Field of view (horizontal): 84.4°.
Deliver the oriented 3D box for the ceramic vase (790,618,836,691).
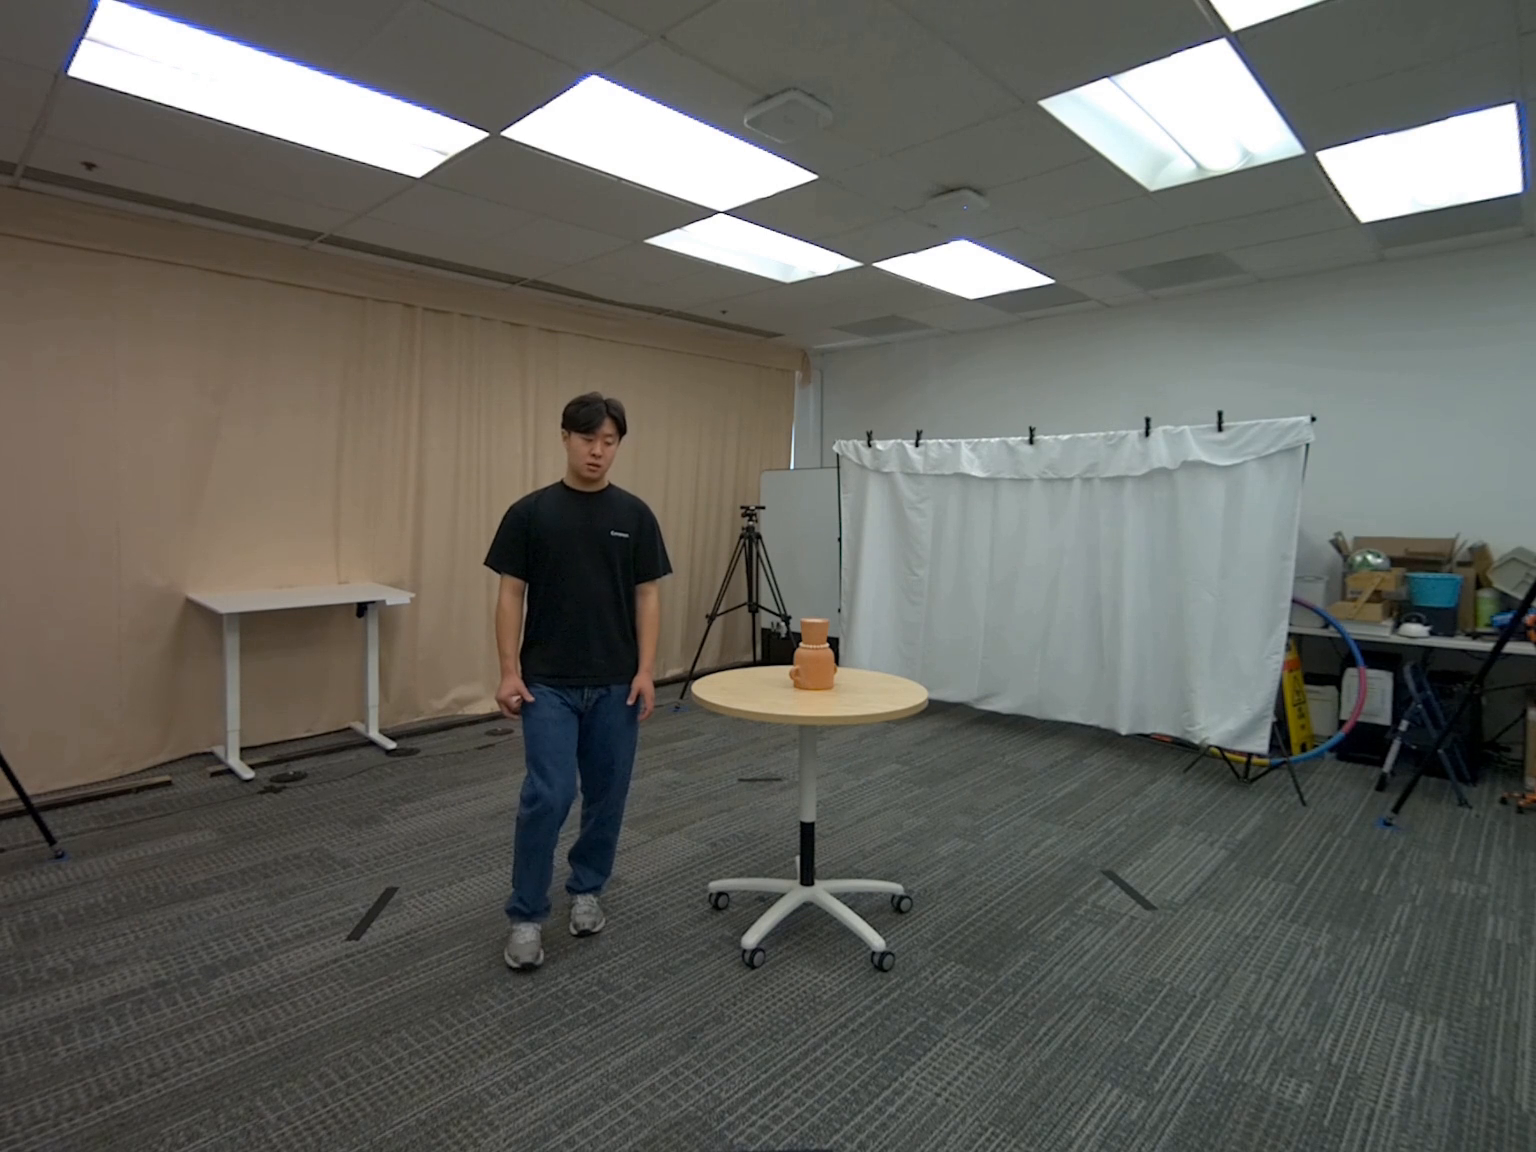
[{"bbox_3d":[0.153,0.256,2.762,0.137,0.219,0.157,1,5,14],"label":"ceramic vase"}]
